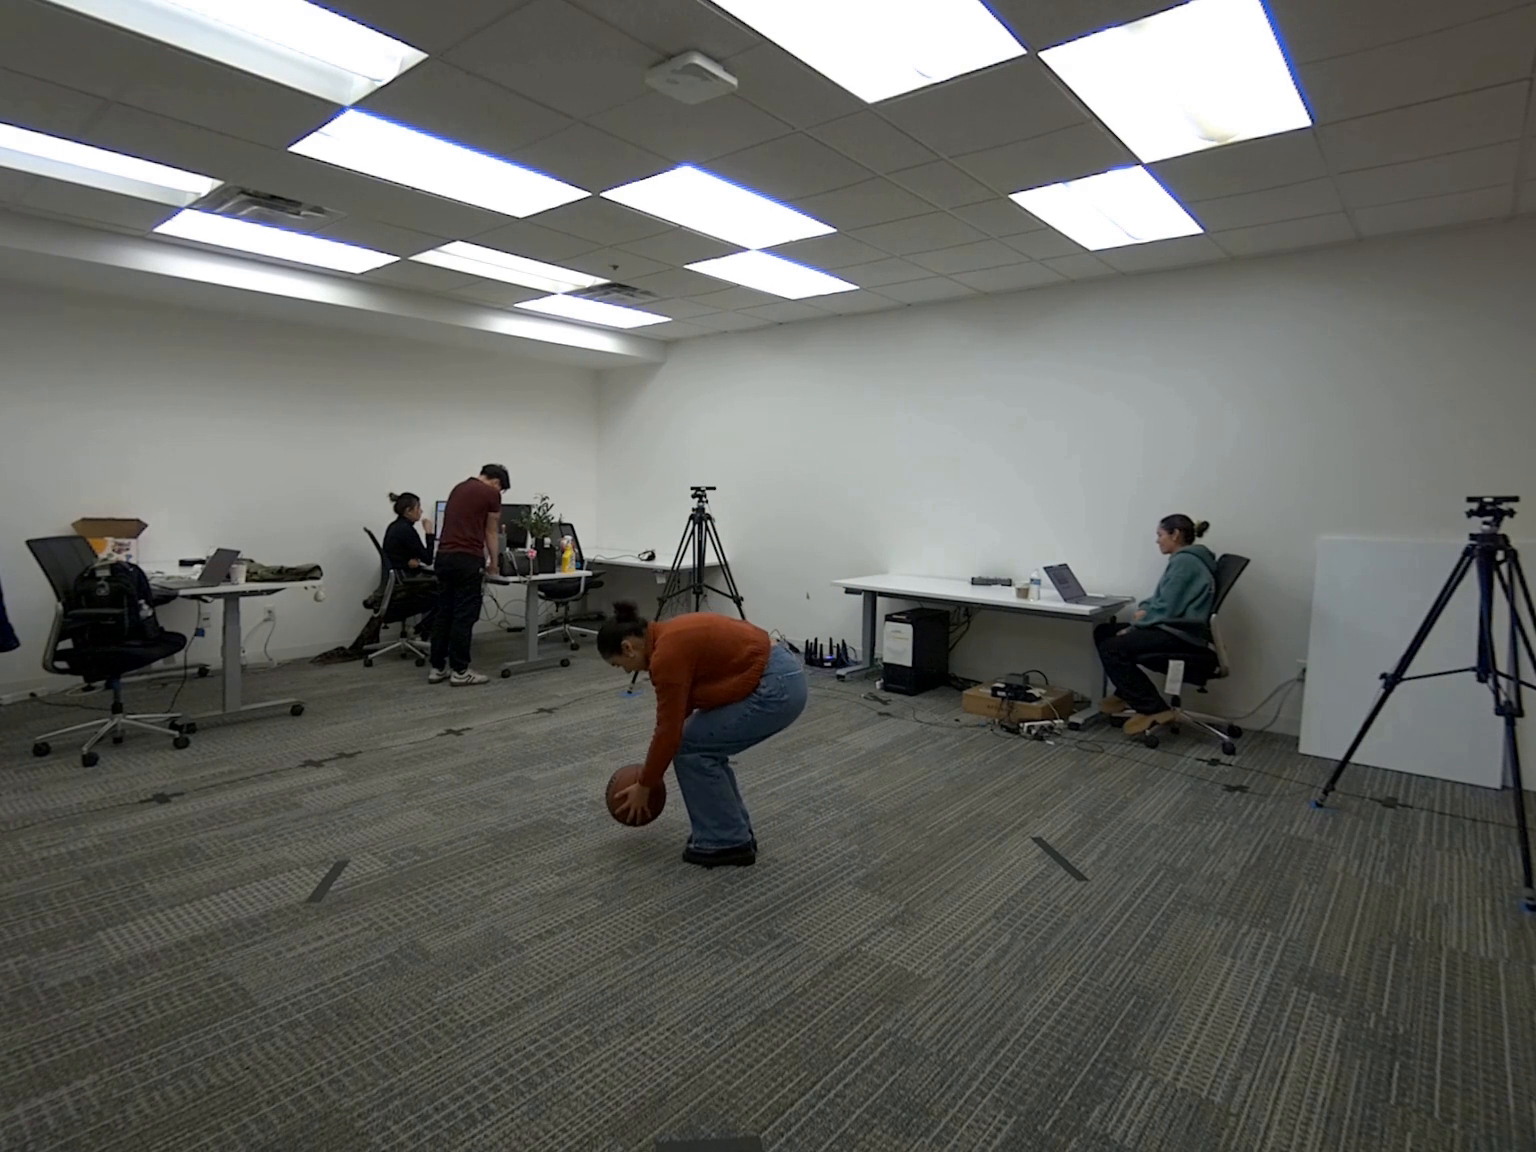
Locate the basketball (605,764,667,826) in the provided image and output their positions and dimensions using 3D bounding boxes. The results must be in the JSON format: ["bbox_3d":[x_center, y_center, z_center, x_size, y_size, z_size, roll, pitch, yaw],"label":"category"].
[{"bbox_3d":[-0.524,0.833,3.303,0.236,0.235,0.237,1,4,-2],"label":"basketball"}]
